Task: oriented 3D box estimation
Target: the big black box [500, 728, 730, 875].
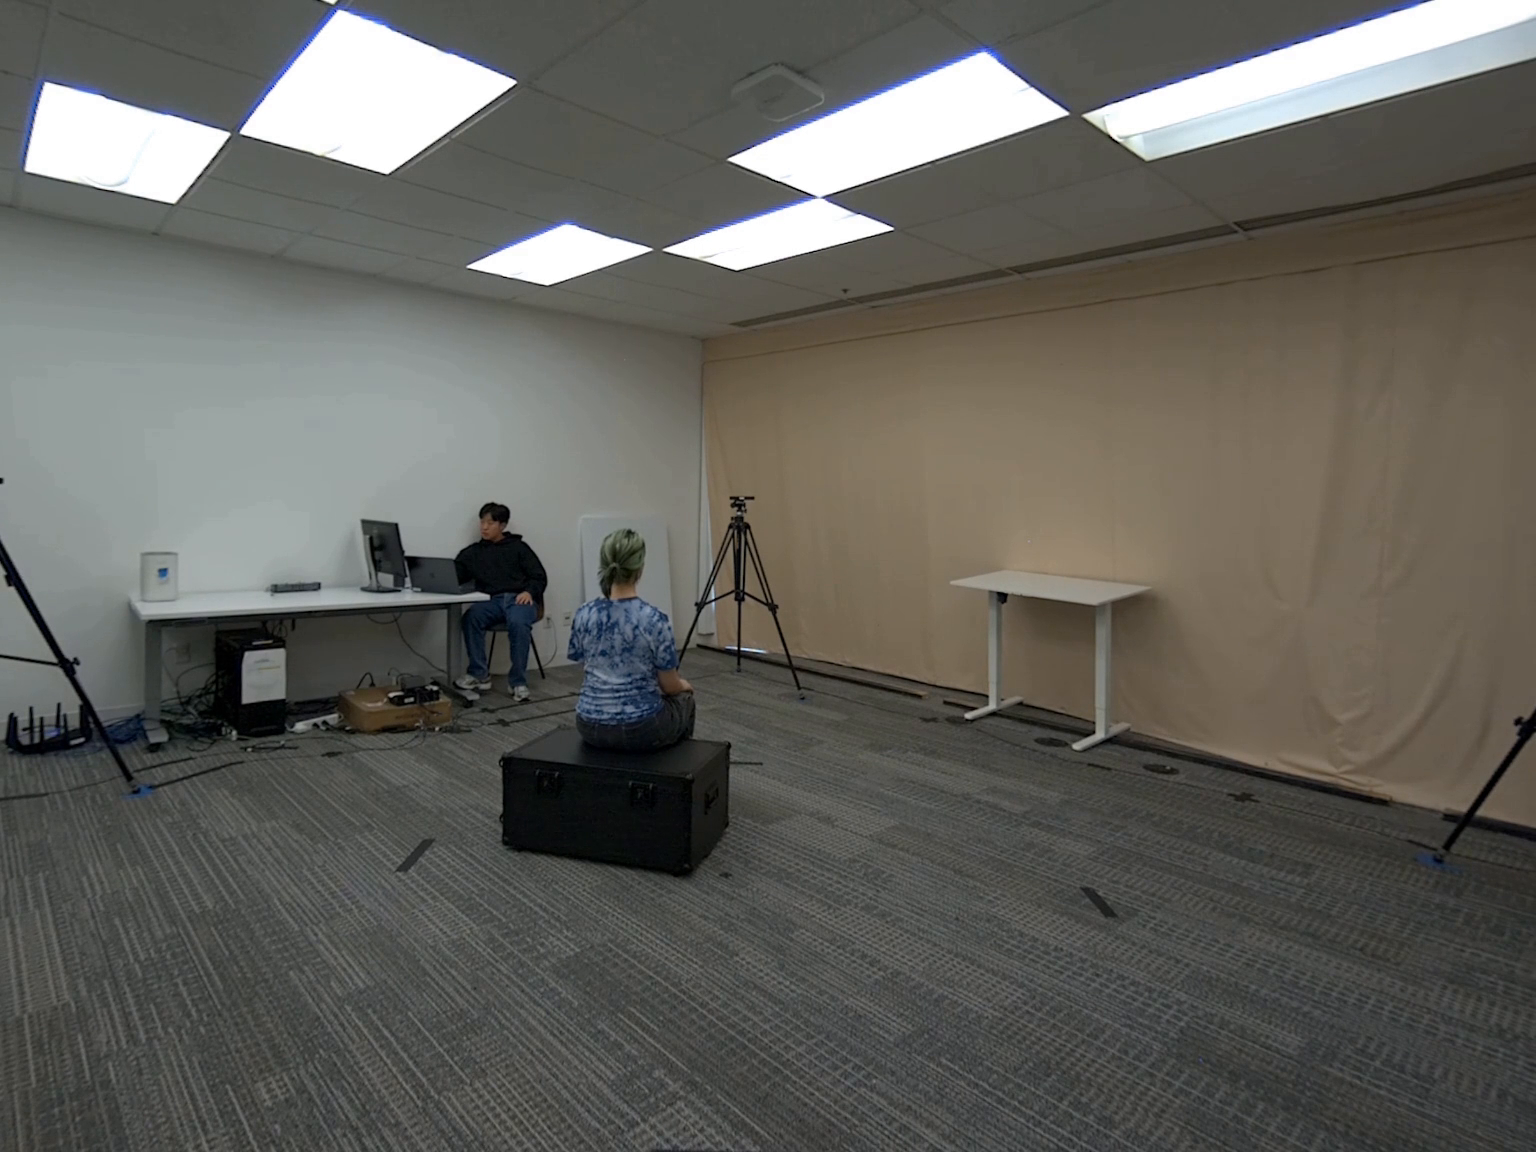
[{"bbox_3d":[-0.633,0.878,3.388,0.872,0.395,0.516,3,5,15],"label":"big black box"}]
